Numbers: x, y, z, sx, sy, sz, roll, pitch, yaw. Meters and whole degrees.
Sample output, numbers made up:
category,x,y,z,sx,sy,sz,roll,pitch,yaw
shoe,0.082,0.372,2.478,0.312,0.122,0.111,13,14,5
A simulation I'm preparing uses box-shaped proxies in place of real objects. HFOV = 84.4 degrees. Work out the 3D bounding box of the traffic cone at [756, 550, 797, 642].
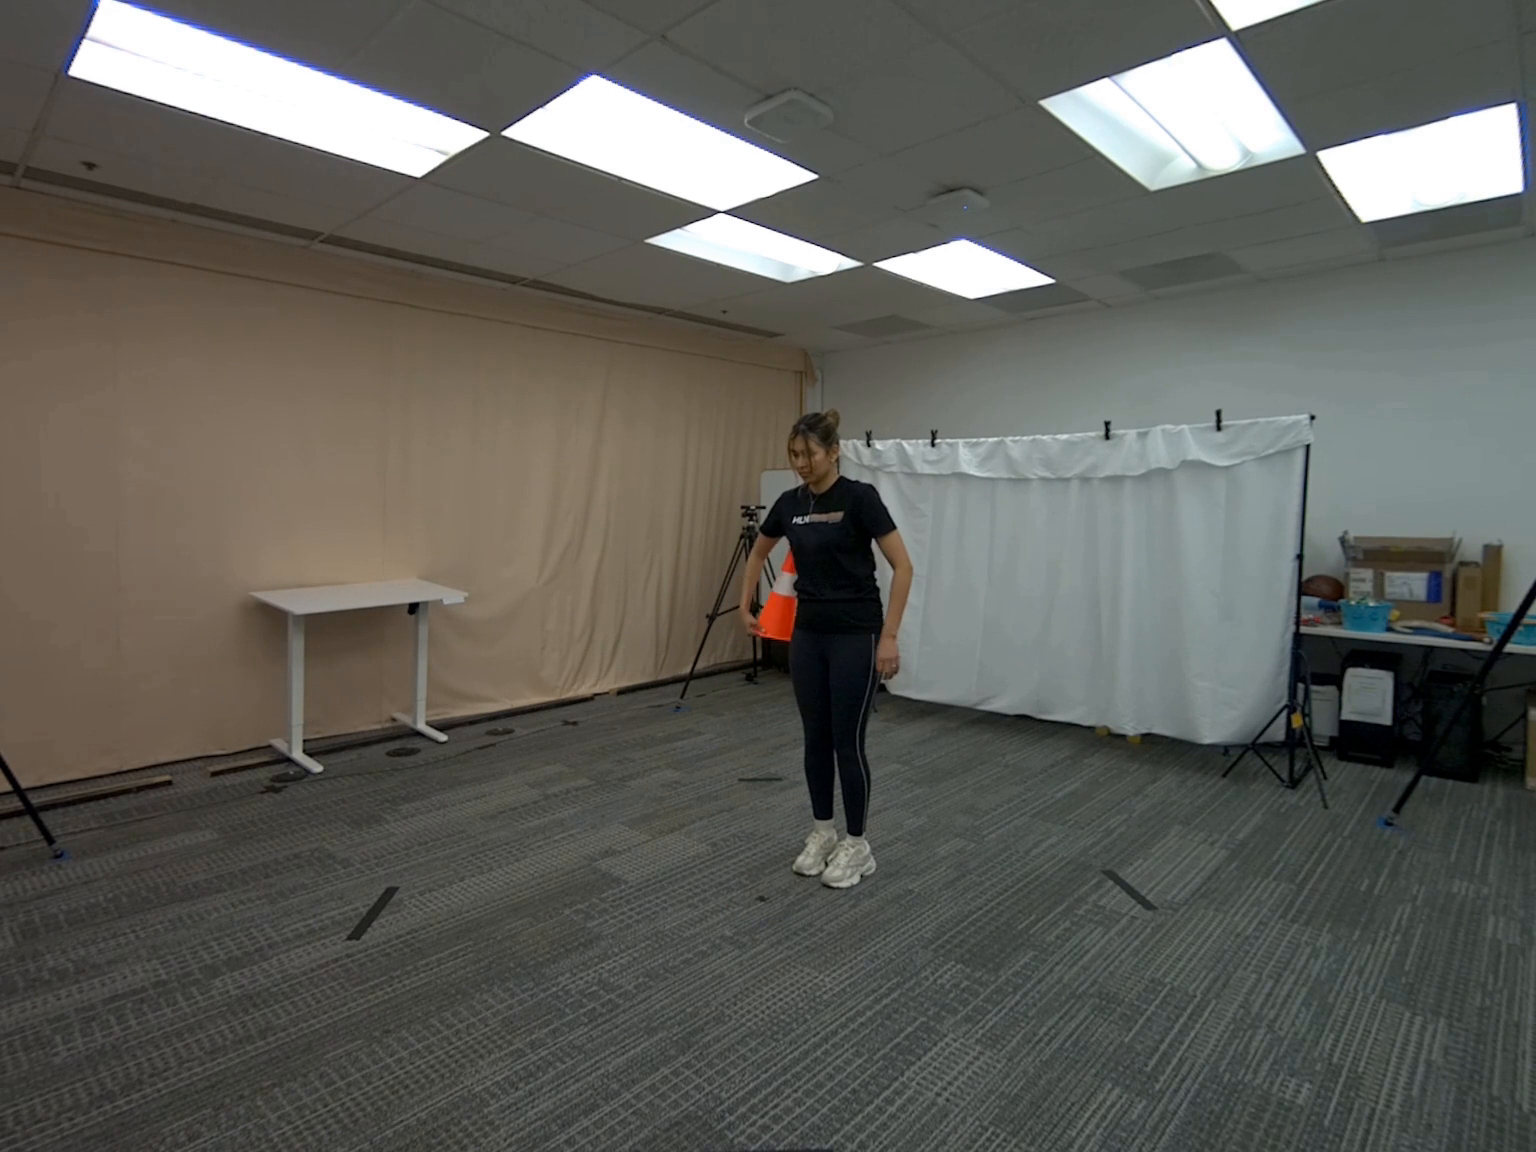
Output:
category,x,y,z,sx,sy,sz,roll,pitch,yaw
traffic cone,0.077,0.046,3.358,0.198,0.382,0.211,5,12,-38
